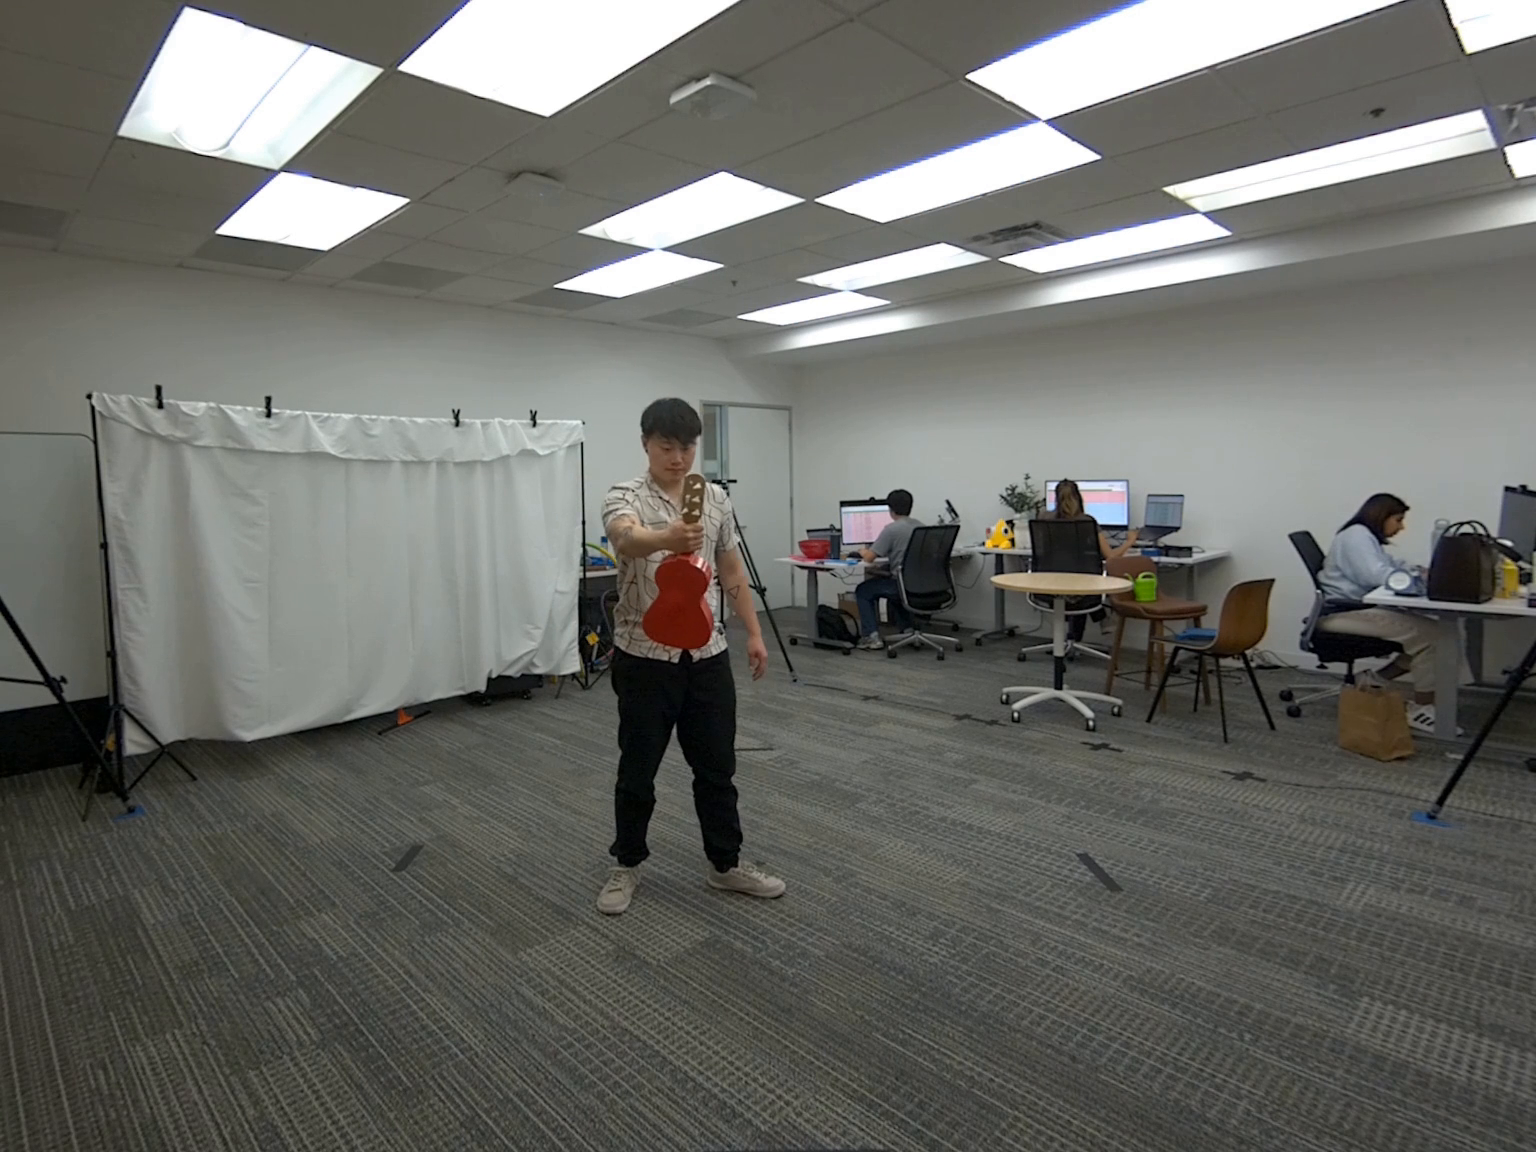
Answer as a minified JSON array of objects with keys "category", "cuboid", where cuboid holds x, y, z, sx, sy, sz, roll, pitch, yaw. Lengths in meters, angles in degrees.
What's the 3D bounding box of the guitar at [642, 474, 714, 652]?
[{"category":"guitar","cuboid":[-0.247,-0.033,2.302,0.195,0.488,0.071,3,23,11]}]
